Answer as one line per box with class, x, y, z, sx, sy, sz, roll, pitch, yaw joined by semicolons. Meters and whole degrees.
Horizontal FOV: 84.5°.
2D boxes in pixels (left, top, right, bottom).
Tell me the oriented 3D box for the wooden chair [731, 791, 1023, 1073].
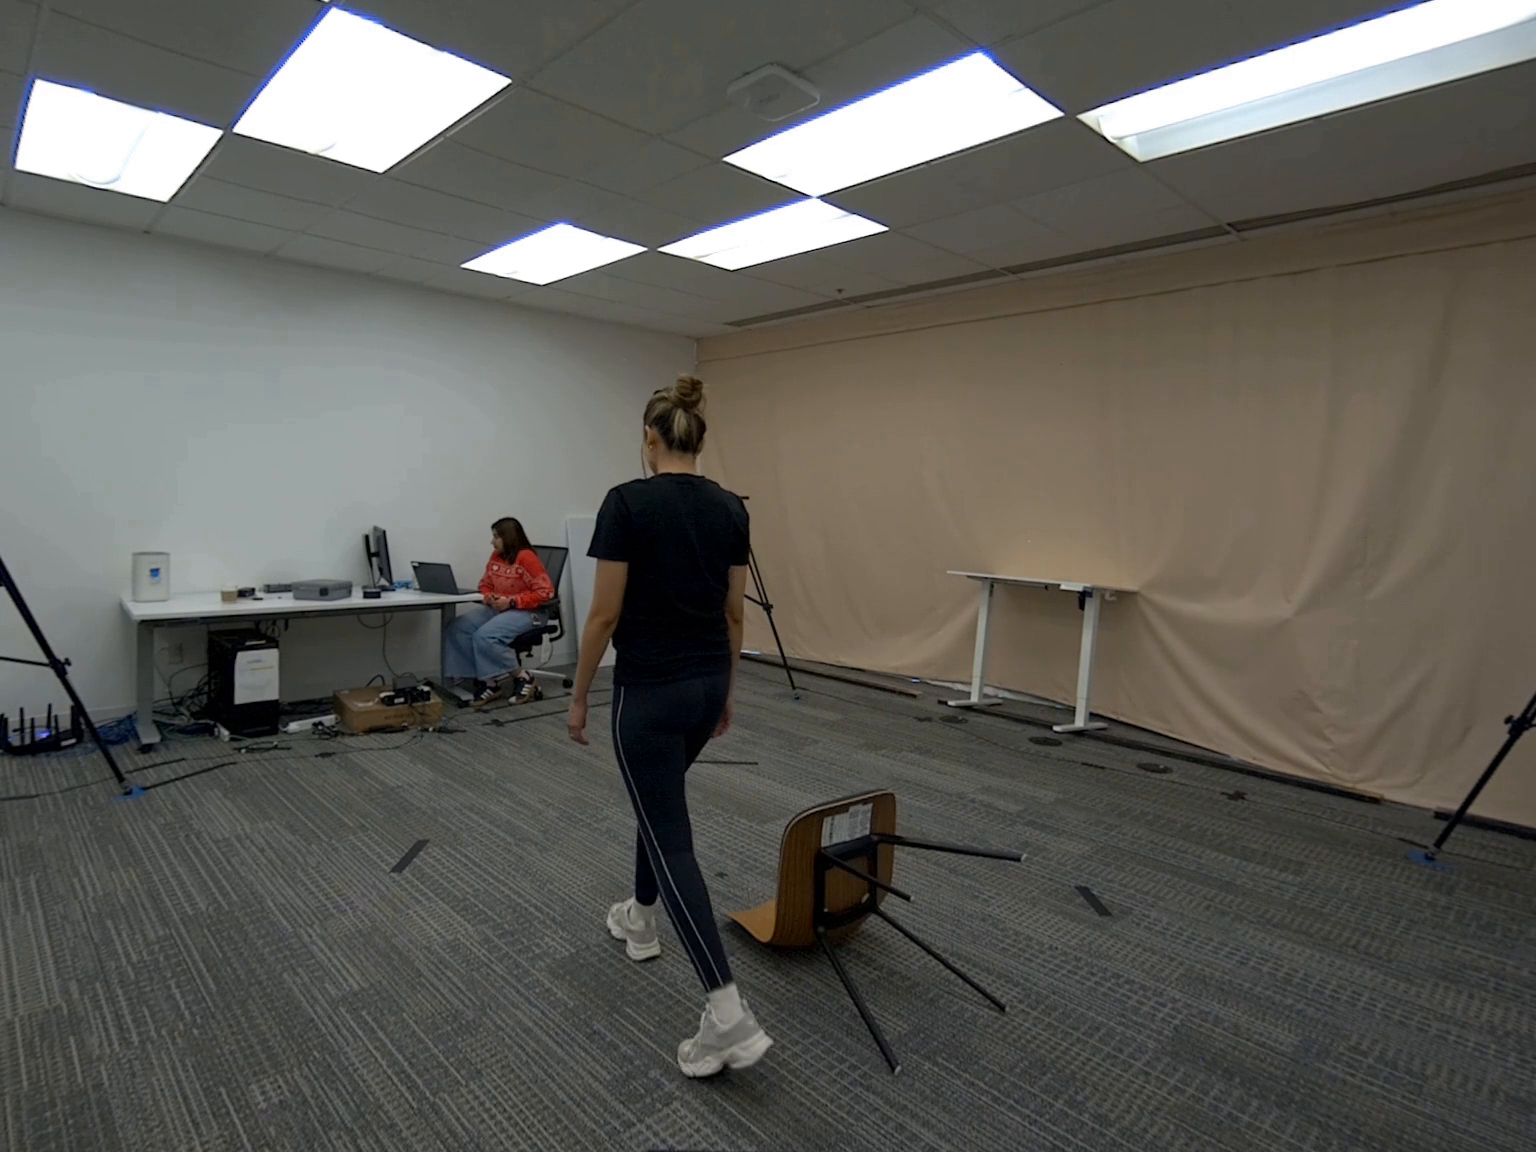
wooden chair;0.234;0.908;2.503;0.467;0.522;0.899;-2;5;-37
